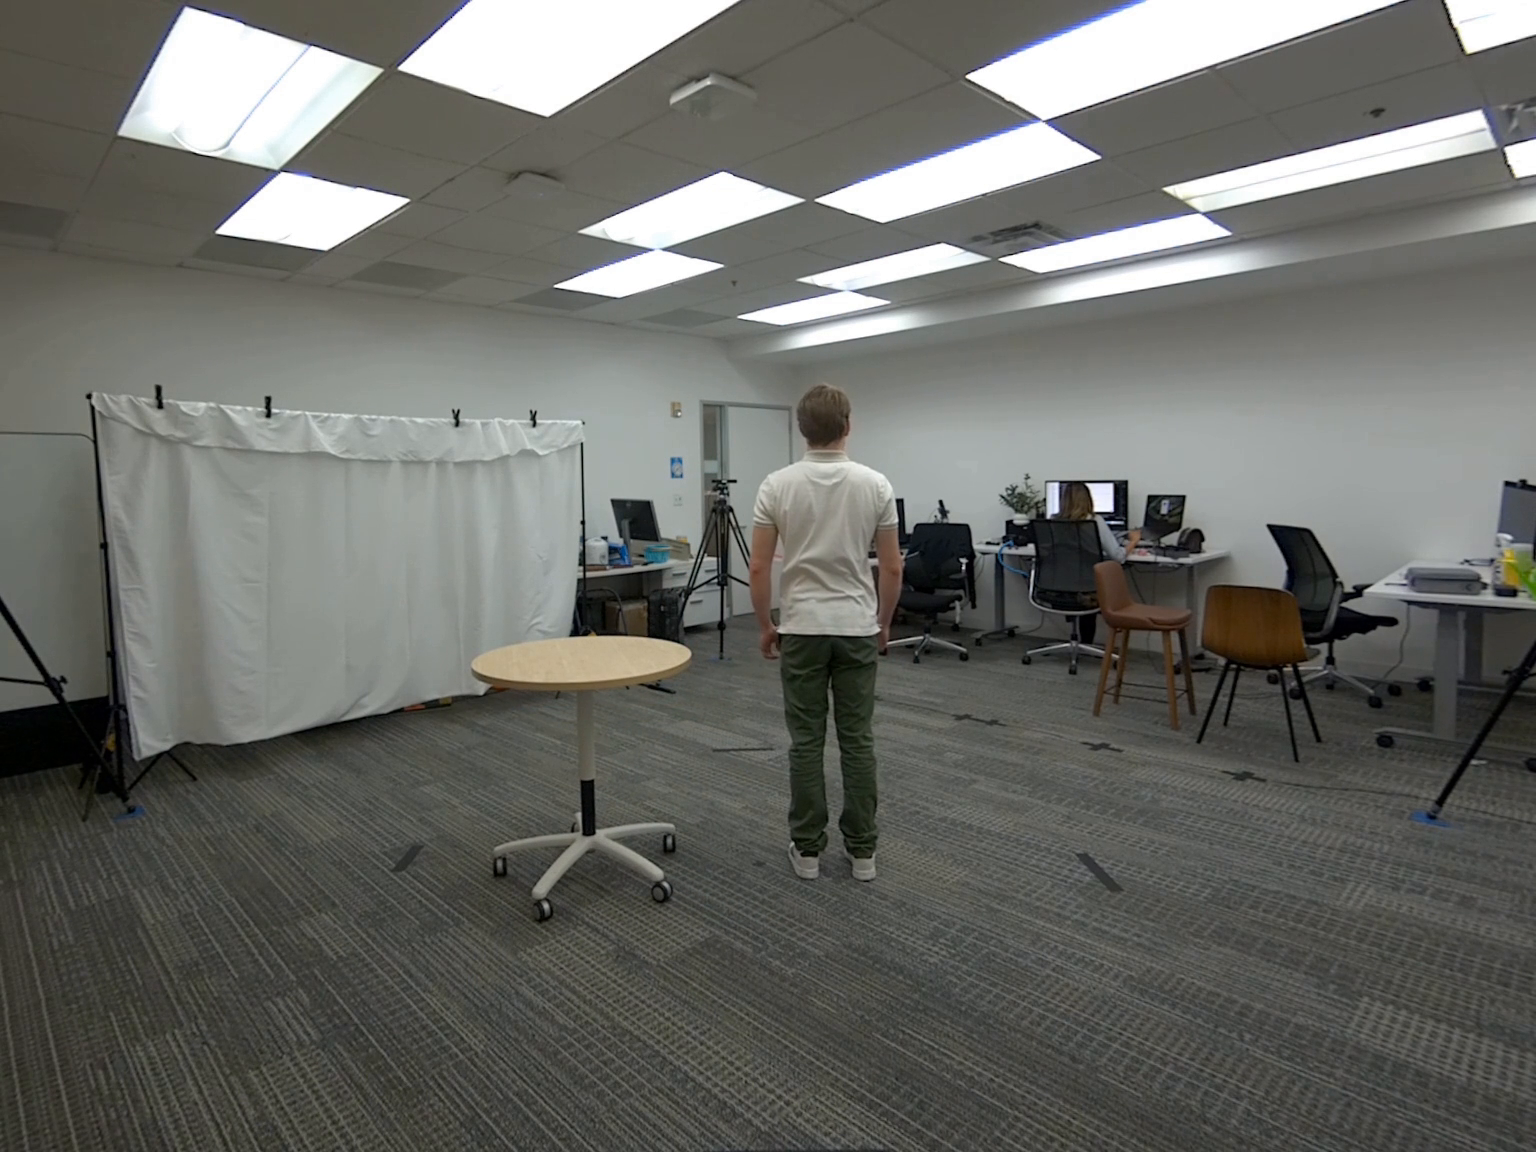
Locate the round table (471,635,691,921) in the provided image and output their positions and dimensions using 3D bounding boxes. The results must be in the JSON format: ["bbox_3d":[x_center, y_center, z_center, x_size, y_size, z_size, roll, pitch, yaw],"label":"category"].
[{"bbox_3d":[-0.635,0.676,3.049,0.763,0.791,0.768,-1,5,-2],"label":"round table"}]
